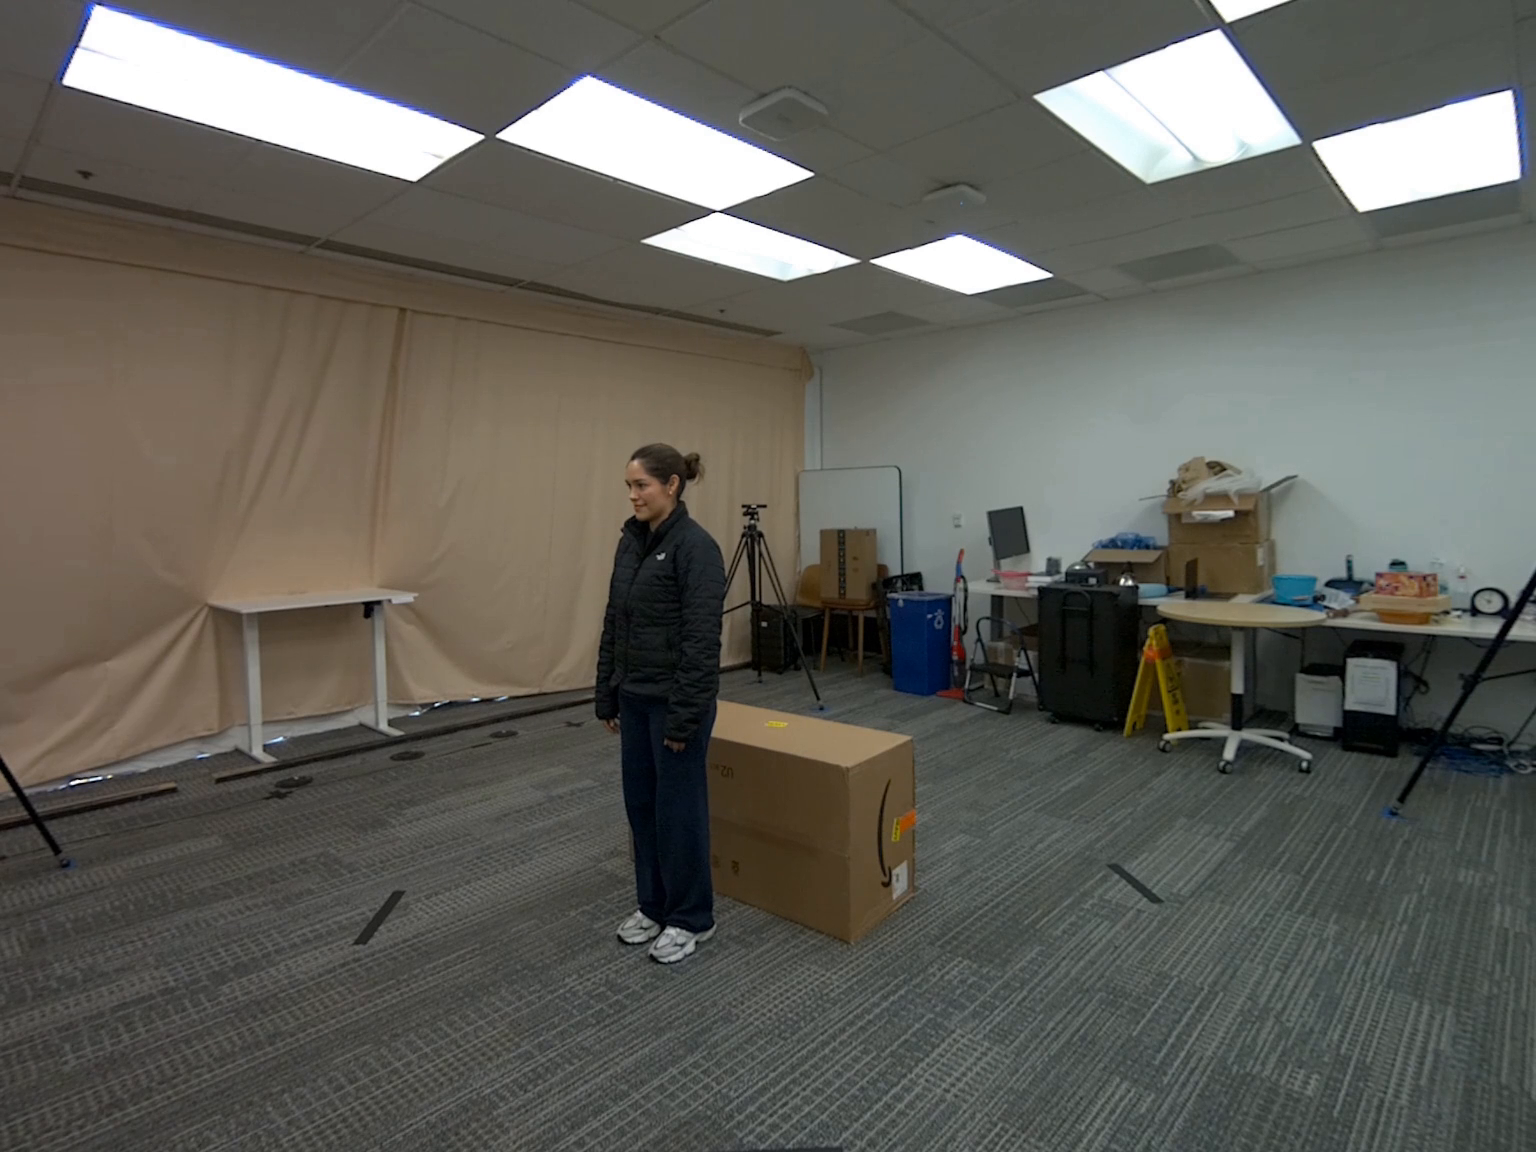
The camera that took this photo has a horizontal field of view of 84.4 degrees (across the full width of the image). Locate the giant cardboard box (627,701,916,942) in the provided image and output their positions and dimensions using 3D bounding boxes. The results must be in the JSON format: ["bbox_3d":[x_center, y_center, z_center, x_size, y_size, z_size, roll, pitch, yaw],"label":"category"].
[{"bbox_3d":[-0.002,0.841,3.136,1.060,0.576,0.414,3,6,40],"label":"giant cardboard box"}]
